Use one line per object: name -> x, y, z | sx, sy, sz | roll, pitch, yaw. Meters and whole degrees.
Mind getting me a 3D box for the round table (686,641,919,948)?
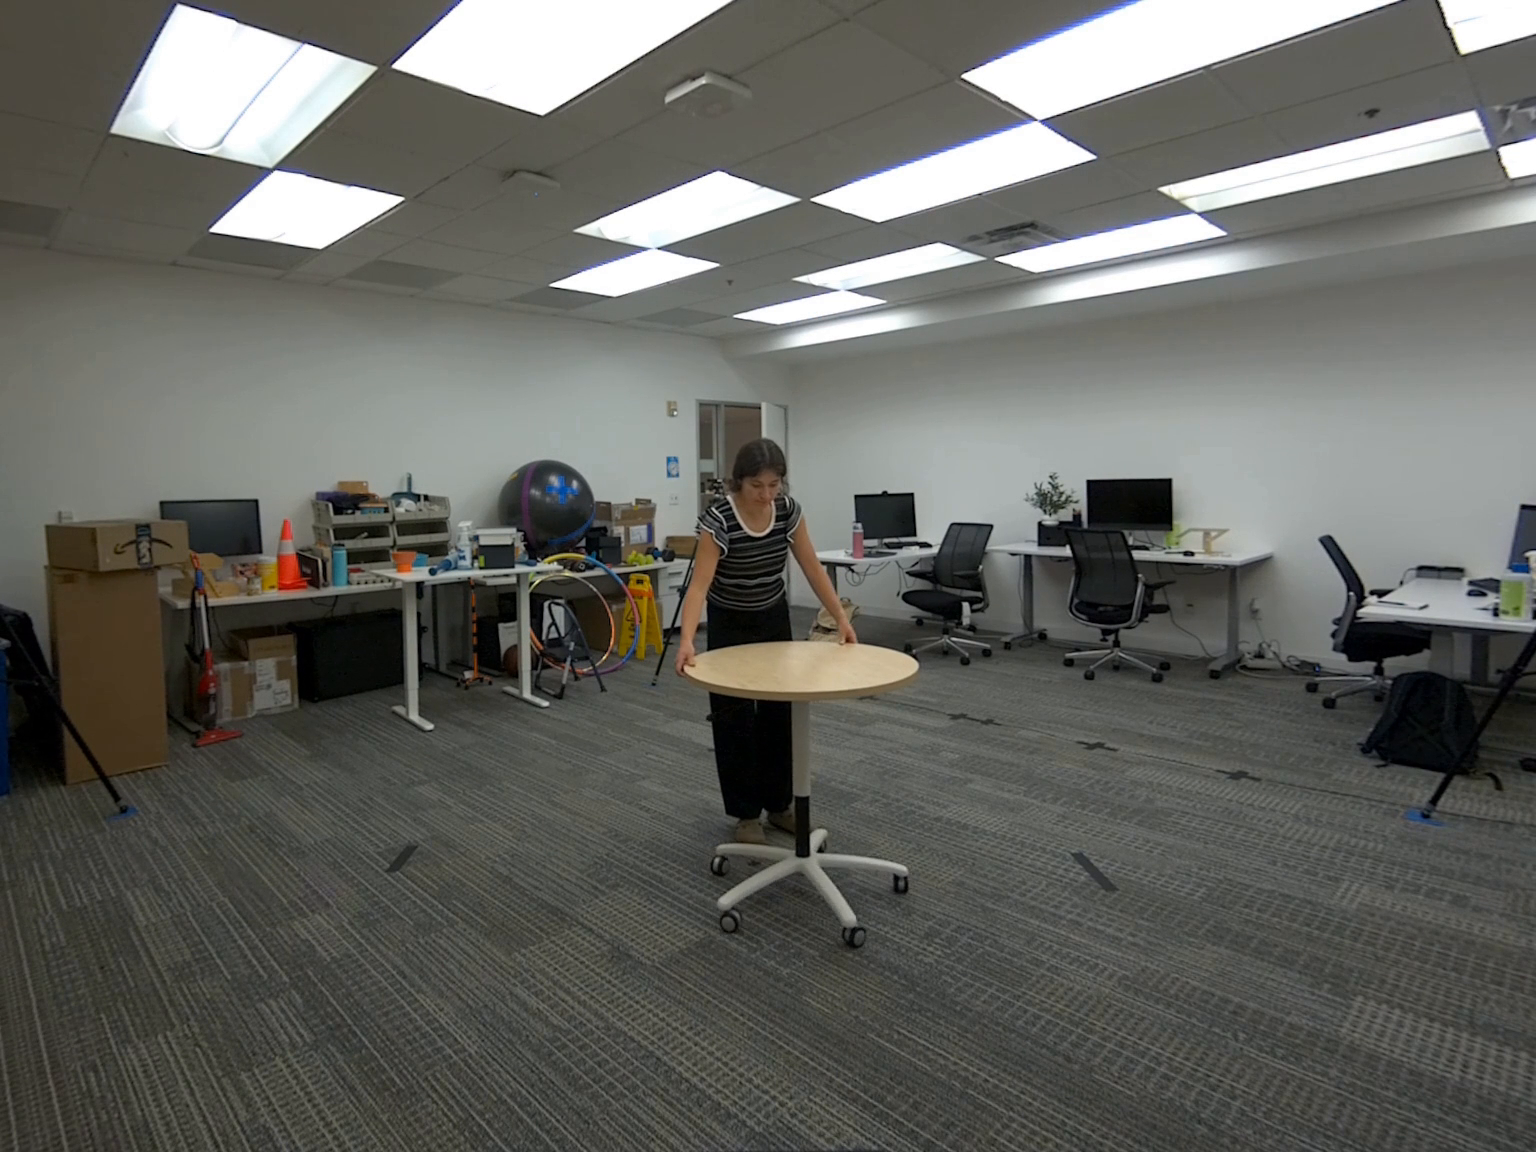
round table -> 0.119, 0.678, 2.847 | 0.784, 0.783, 0.789 | -1, 5, -2
